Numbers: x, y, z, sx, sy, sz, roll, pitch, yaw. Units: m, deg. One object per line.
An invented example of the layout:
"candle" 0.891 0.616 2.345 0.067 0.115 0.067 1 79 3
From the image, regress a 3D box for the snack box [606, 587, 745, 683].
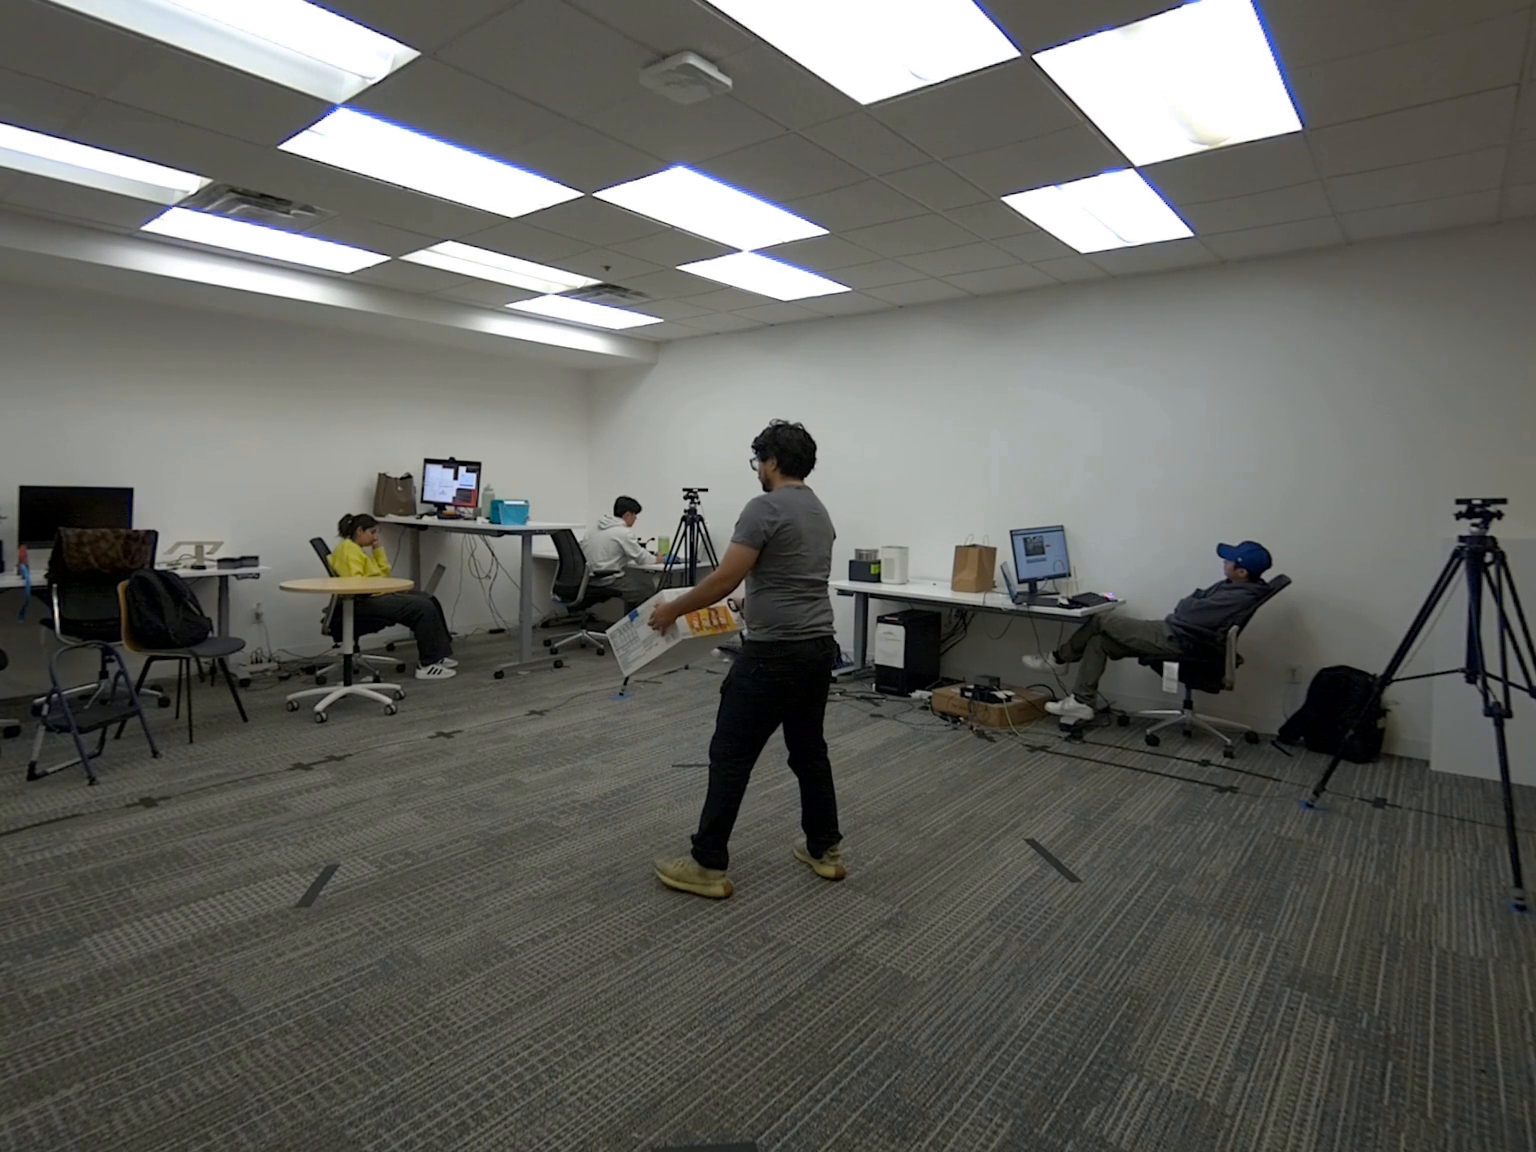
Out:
"snack box" -0.374 0.207 3.347 0.343 0.210 0.393 -35 -17 31
